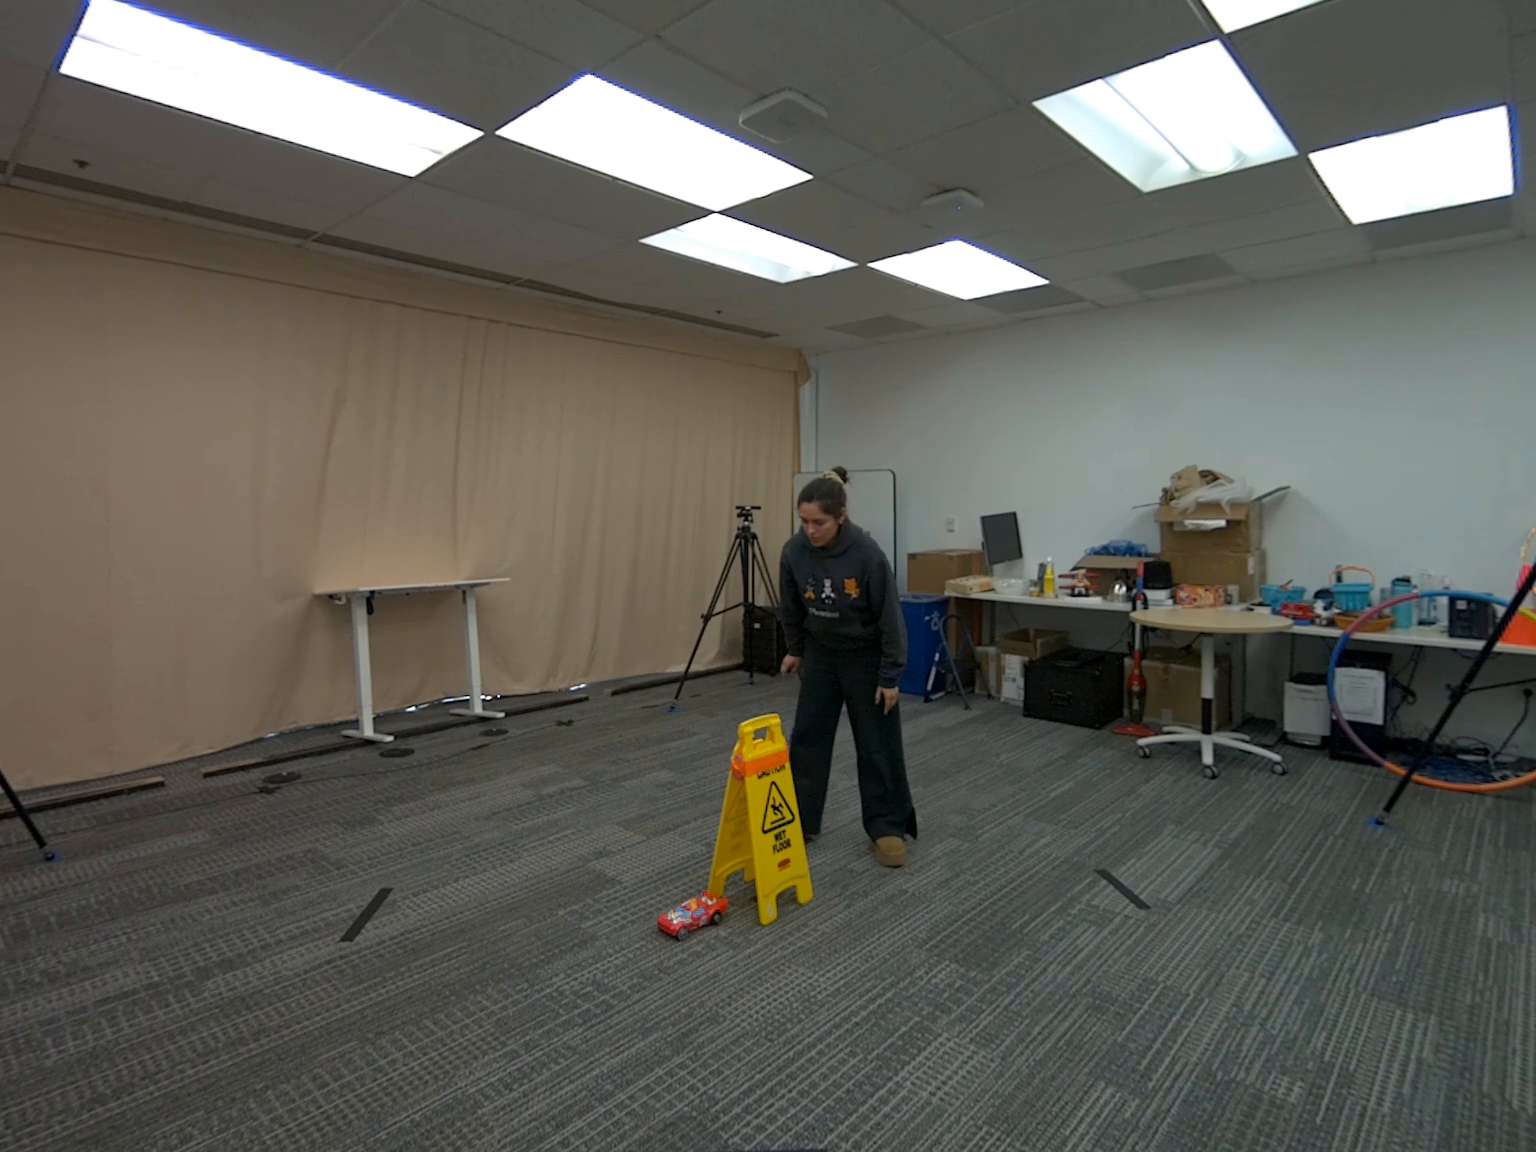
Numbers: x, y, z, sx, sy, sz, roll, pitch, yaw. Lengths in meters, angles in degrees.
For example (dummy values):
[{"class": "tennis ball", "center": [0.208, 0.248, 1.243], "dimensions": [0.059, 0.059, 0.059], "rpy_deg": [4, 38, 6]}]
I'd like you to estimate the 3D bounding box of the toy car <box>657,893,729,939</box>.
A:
[{"class": "toy car", "center": [-0.226, 1.136, 2.797], "dimensions": [0.248, 0.082, 0.134], "rpy_deg": [-20, 15, -41]}]
